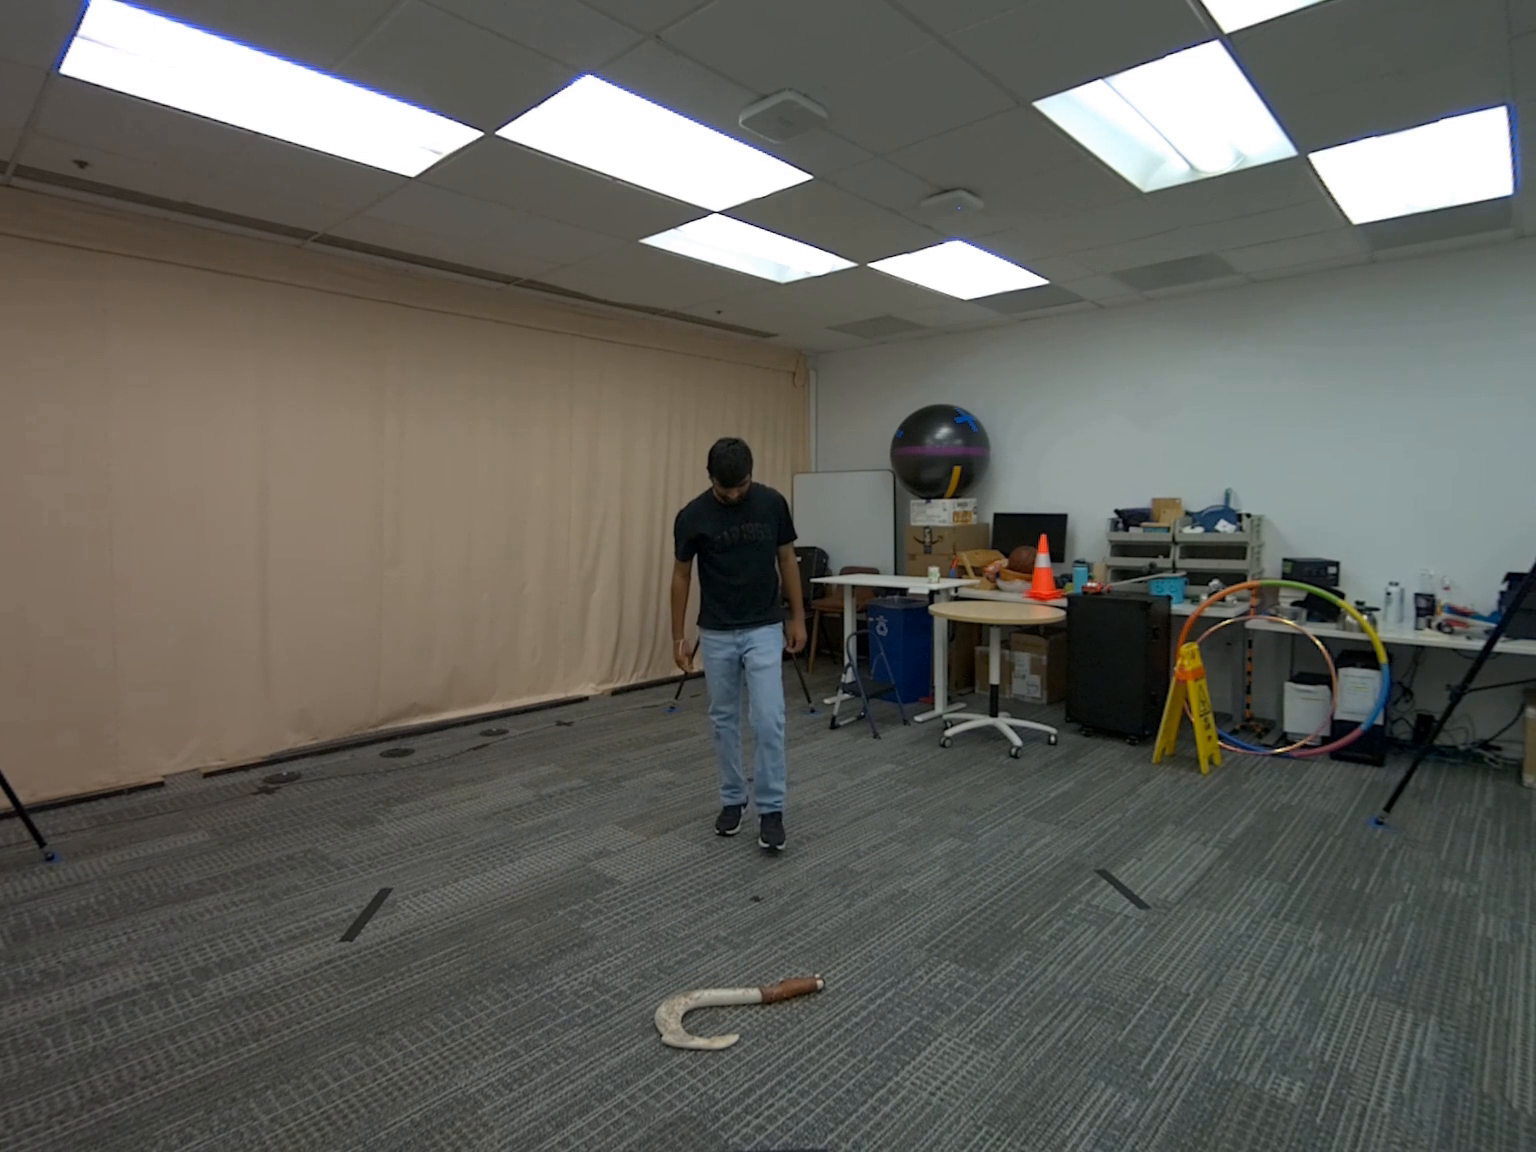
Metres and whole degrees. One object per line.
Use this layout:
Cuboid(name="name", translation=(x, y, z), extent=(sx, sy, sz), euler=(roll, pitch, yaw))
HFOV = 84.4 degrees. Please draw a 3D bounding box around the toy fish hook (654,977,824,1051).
Cuboid(name="toy fish hook", translation=(-0.051, 1.177, 2.300), extent=(0.497, 0.048, 0.230), euler=(-3, 13, -20))
